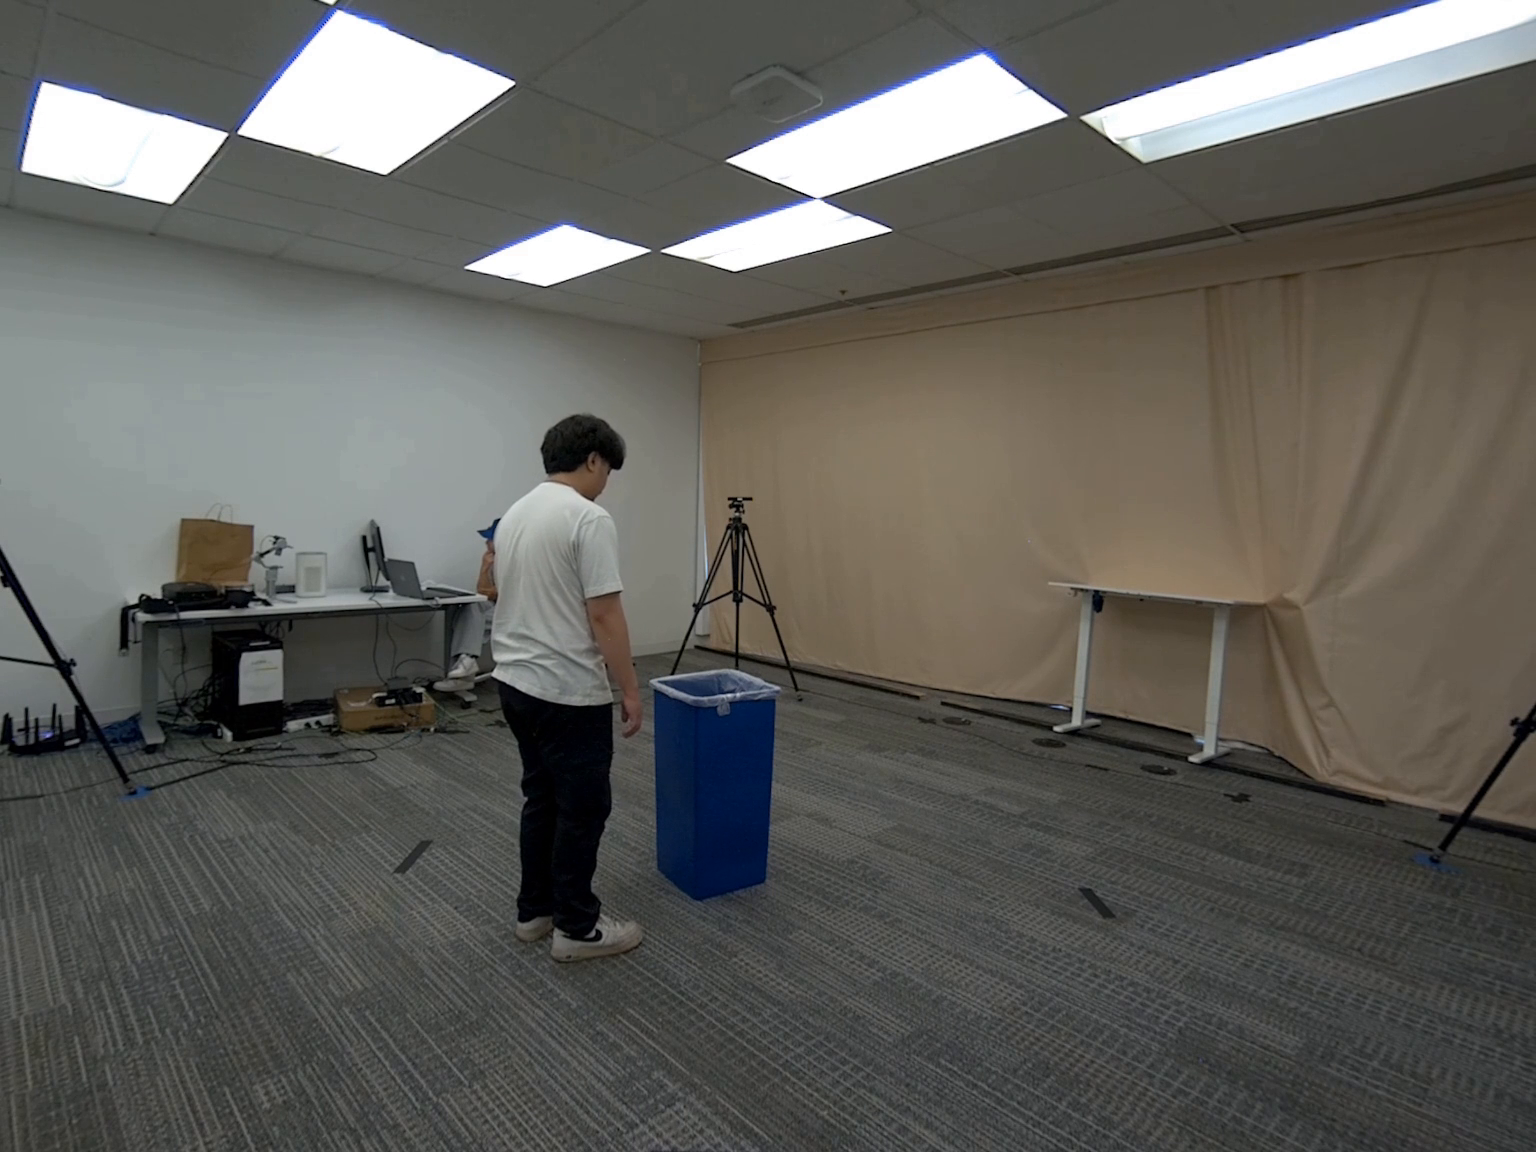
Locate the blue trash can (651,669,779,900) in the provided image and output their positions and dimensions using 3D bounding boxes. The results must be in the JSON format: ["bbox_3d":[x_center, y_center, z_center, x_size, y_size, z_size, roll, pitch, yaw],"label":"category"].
[{"bbox_3d":[-0.215,0.747,3.096,0.370,0.712,0.383,-1,4,-34],"label":"blue trash can"}]
